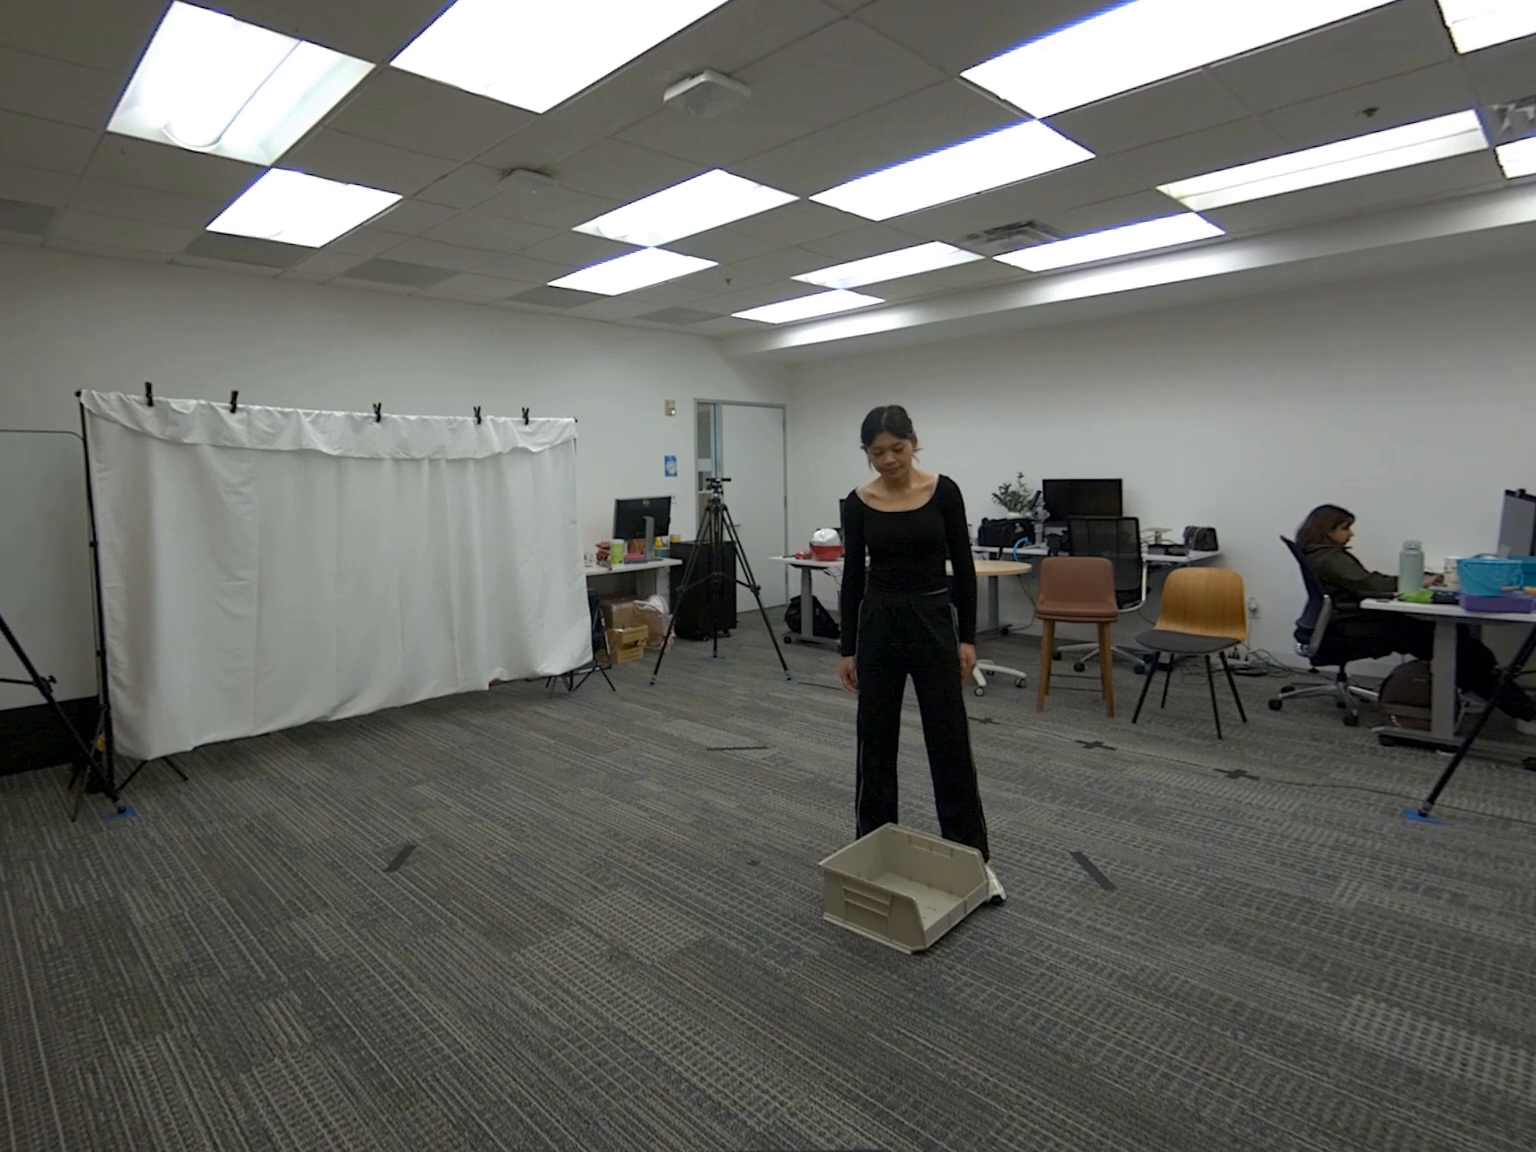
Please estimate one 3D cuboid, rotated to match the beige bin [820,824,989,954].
[{"bbox_3d":[0.440,0.986,2.728,0.388,0.188,0.412,2,7,40],"label":"beige bin"}]
